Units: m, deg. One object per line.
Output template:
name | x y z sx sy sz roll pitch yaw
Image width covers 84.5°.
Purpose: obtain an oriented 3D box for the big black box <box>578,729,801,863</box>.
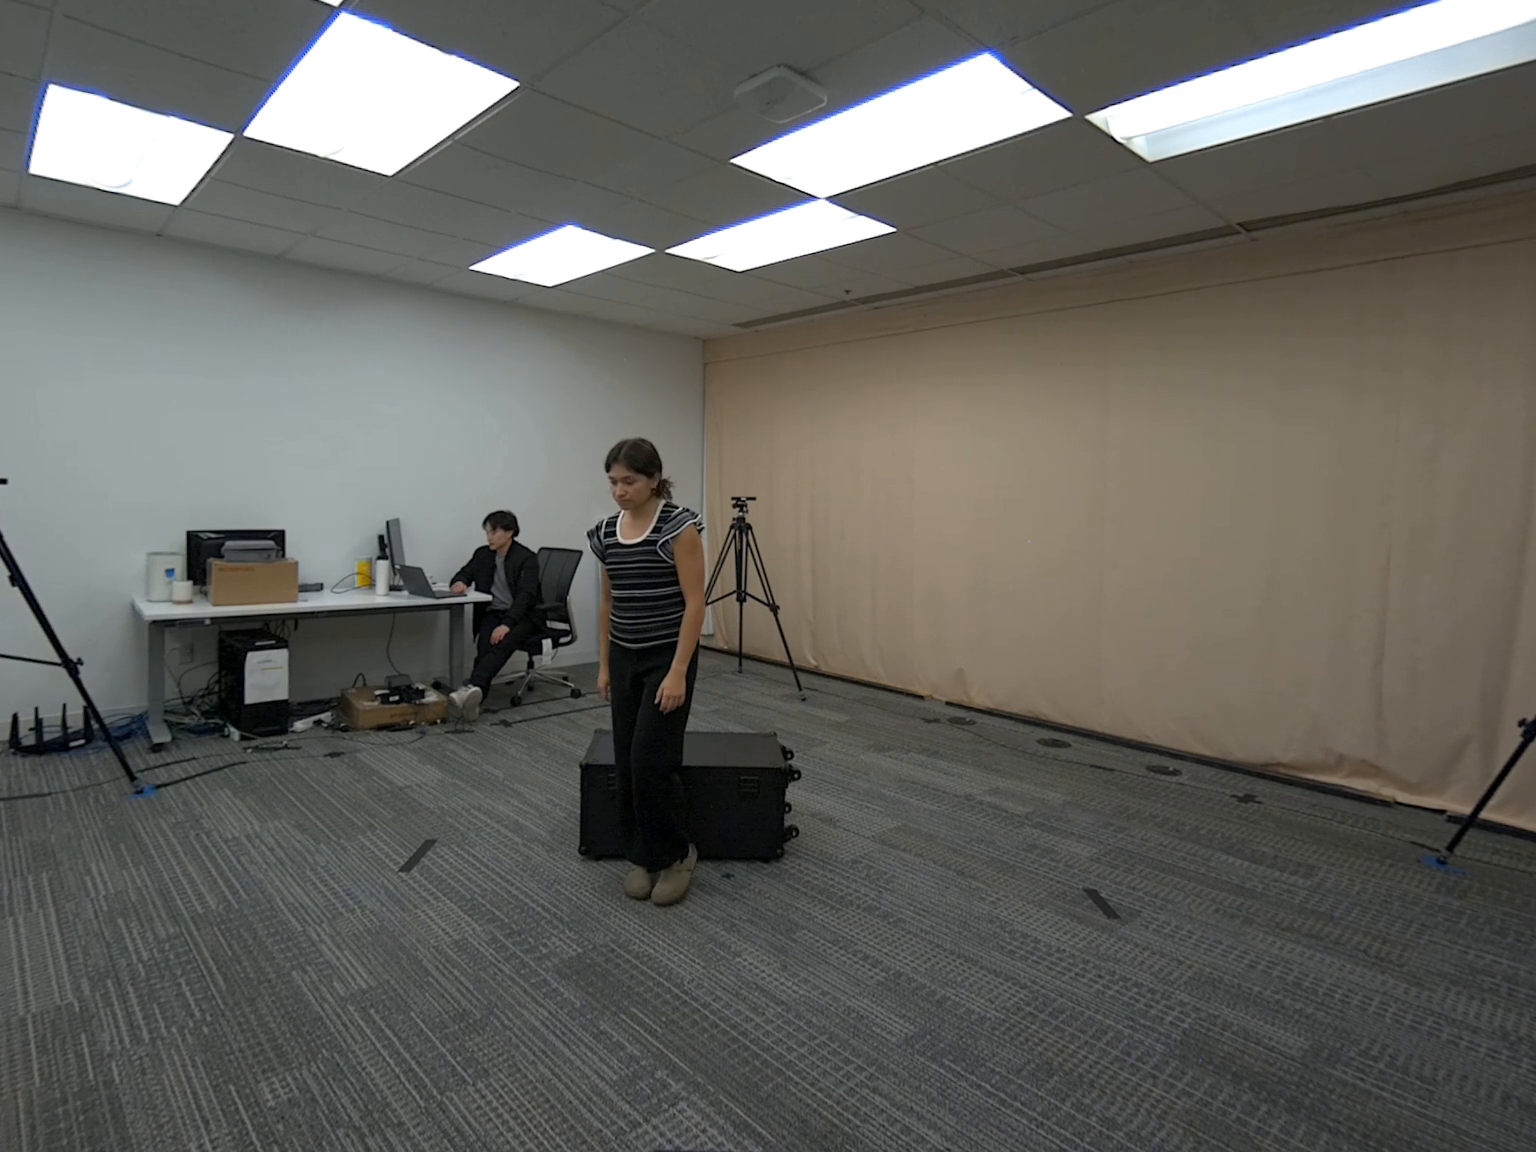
big black box | -0.315 0.880 3.431 0.859 0.395 0.524 1 5 -3
